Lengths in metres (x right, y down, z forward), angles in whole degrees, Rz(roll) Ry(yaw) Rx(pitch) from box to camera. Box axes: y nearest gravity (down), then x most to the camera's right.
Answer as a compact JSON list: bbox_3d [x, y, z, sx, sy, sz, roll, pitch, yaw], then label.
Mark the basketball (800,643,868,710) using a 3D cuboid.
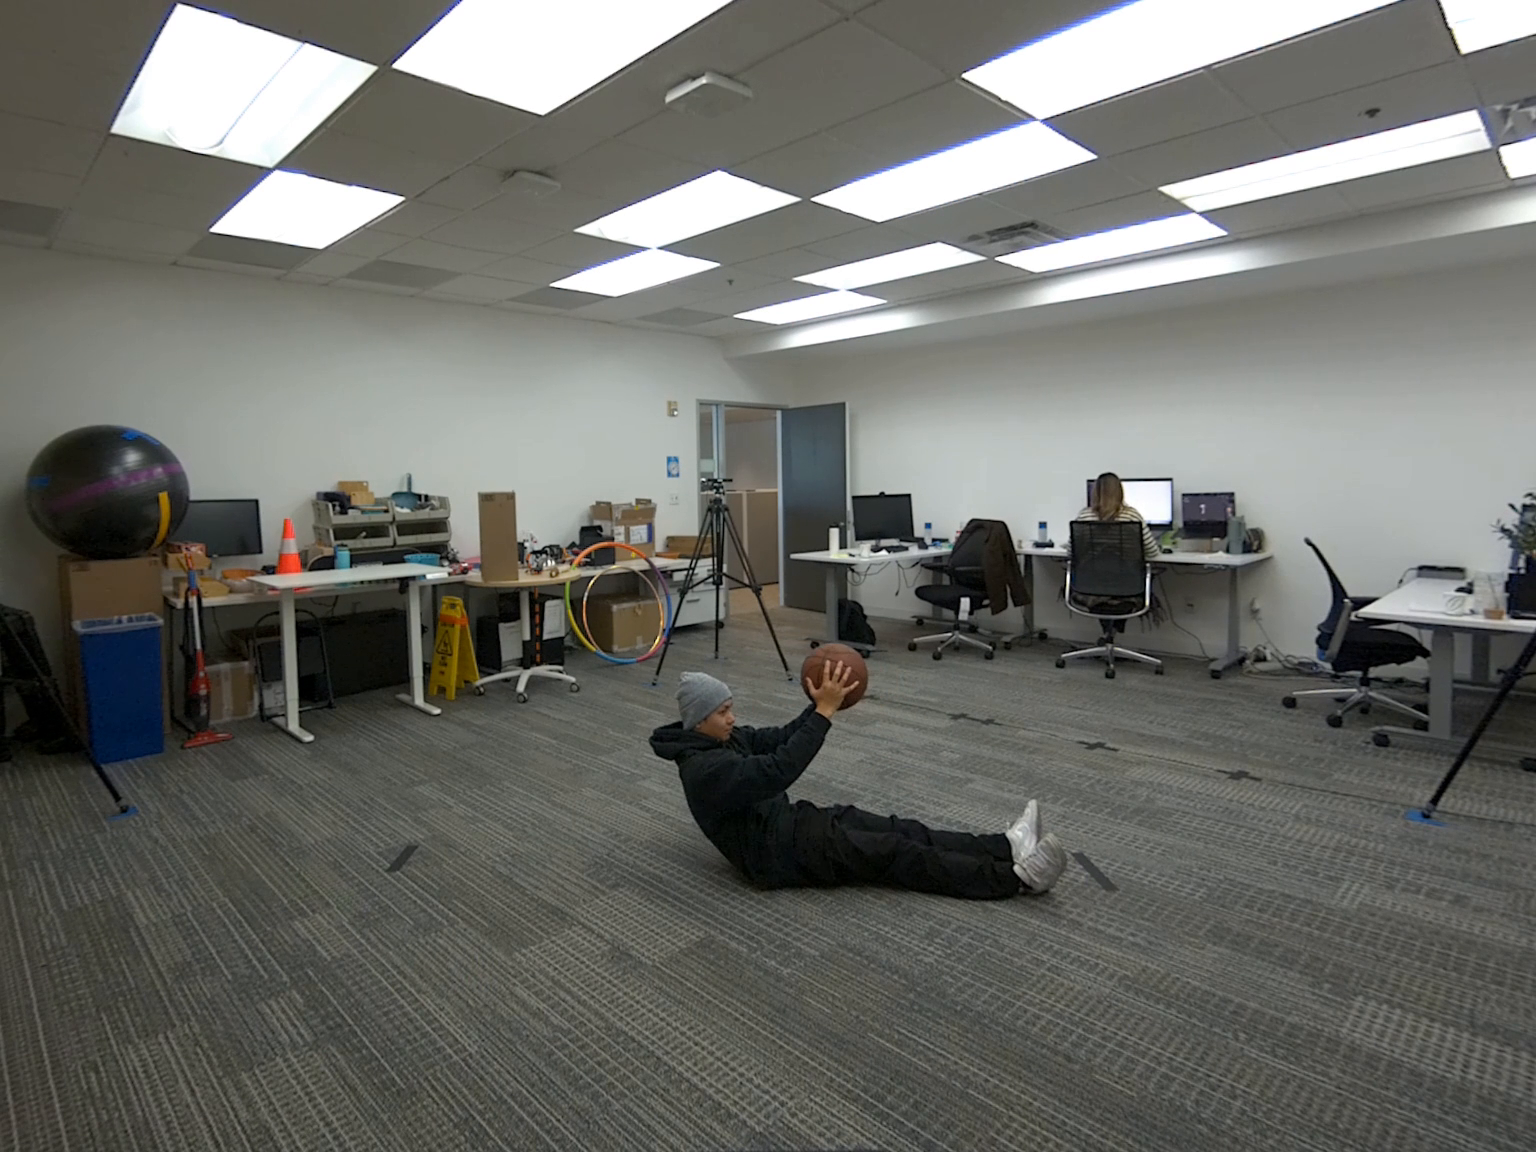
[{"bbox_3d":[0.236,0.357,3.036,0.236,0.235,0.237,-1,5,-2],"label":"basketball"}]
